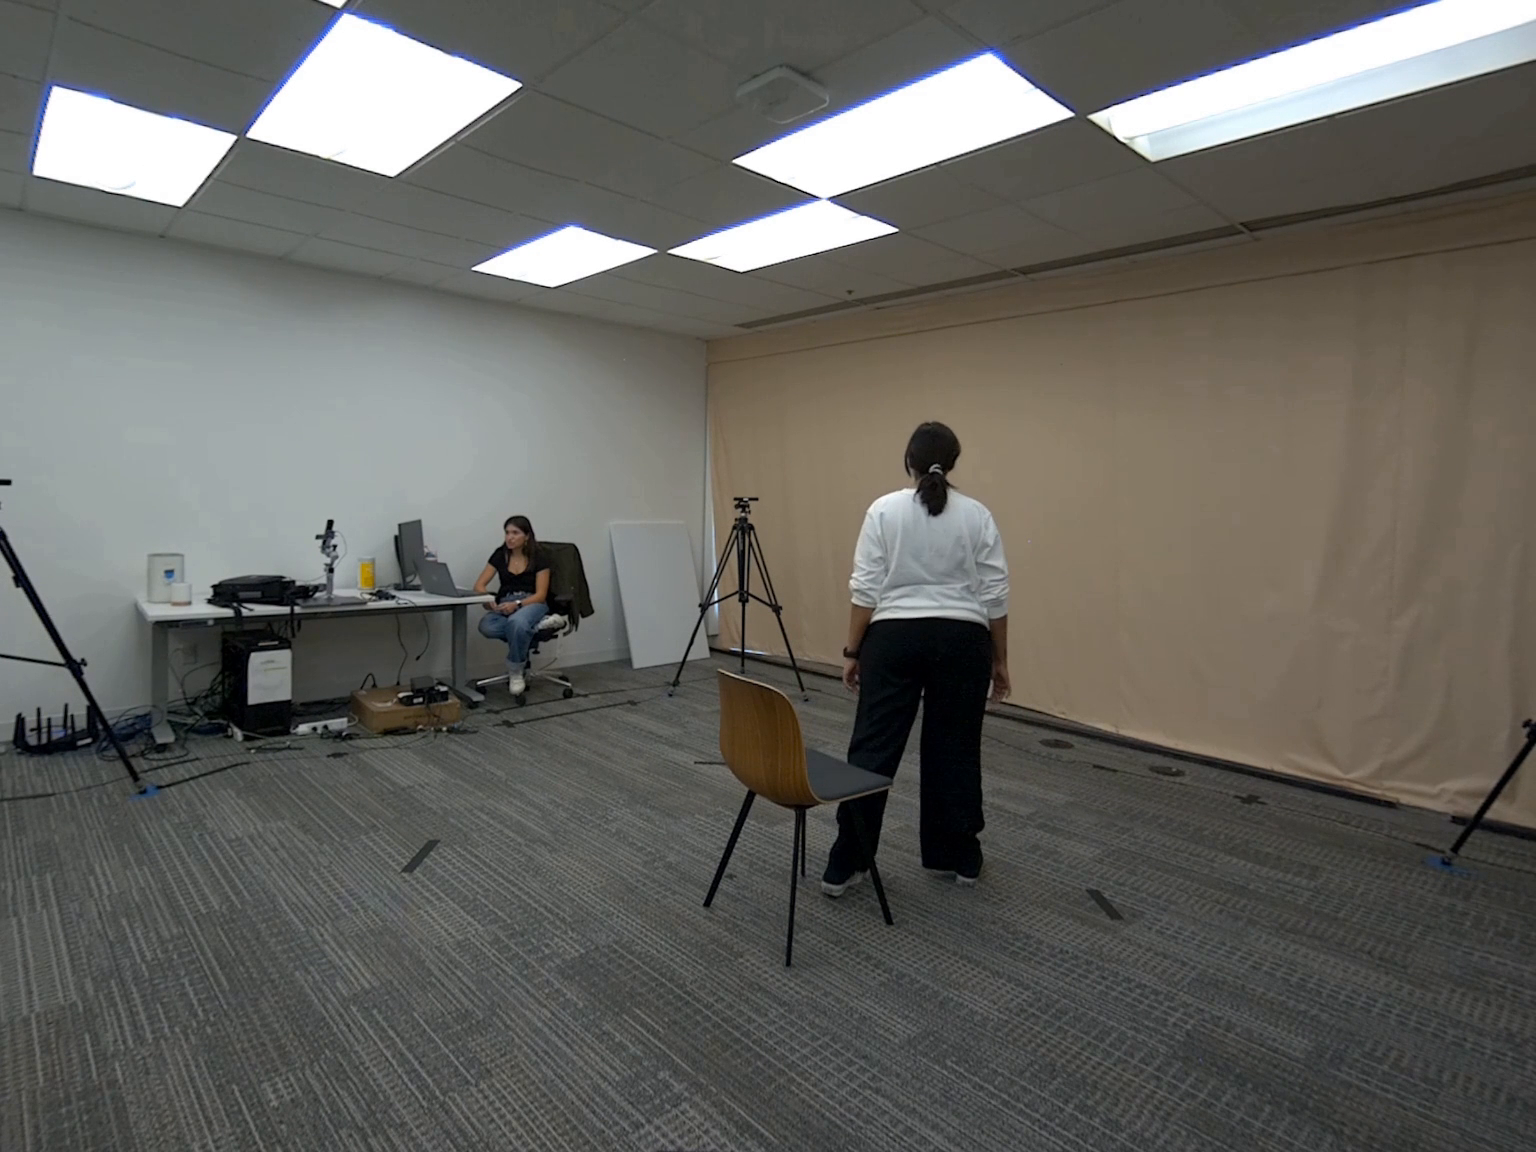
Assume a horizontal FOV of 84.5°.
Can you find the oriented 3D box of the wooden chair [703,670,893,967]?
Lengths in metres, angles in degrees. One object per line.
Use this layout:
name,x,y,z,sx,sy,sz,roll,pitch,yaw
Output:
wooden chair,0.105,0.714,2.794,0.512,0.873,0.490,-6,7,-37
